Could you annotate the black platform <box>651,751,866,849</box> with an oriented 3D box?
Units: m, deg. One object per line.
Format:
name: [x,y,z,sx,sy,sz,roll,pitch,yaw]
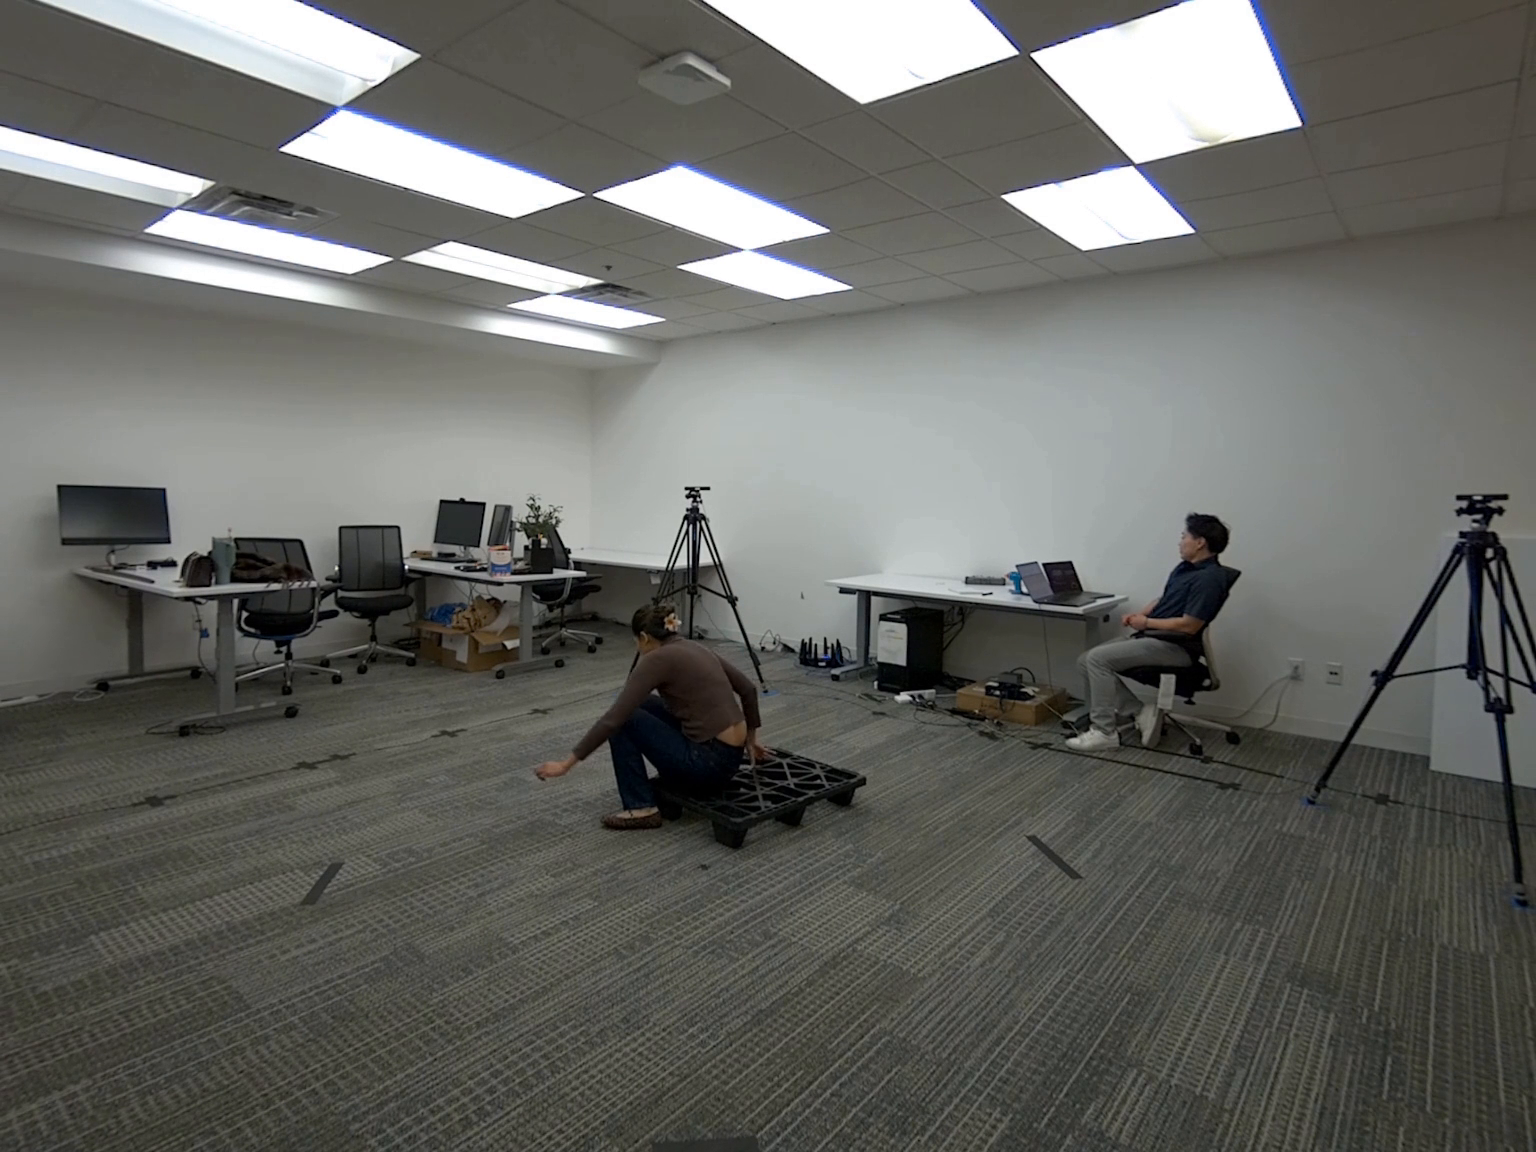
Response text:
black platform: [-0.052,0.950,3.687,0.782,0.143,0.626,-5,8,-44]
